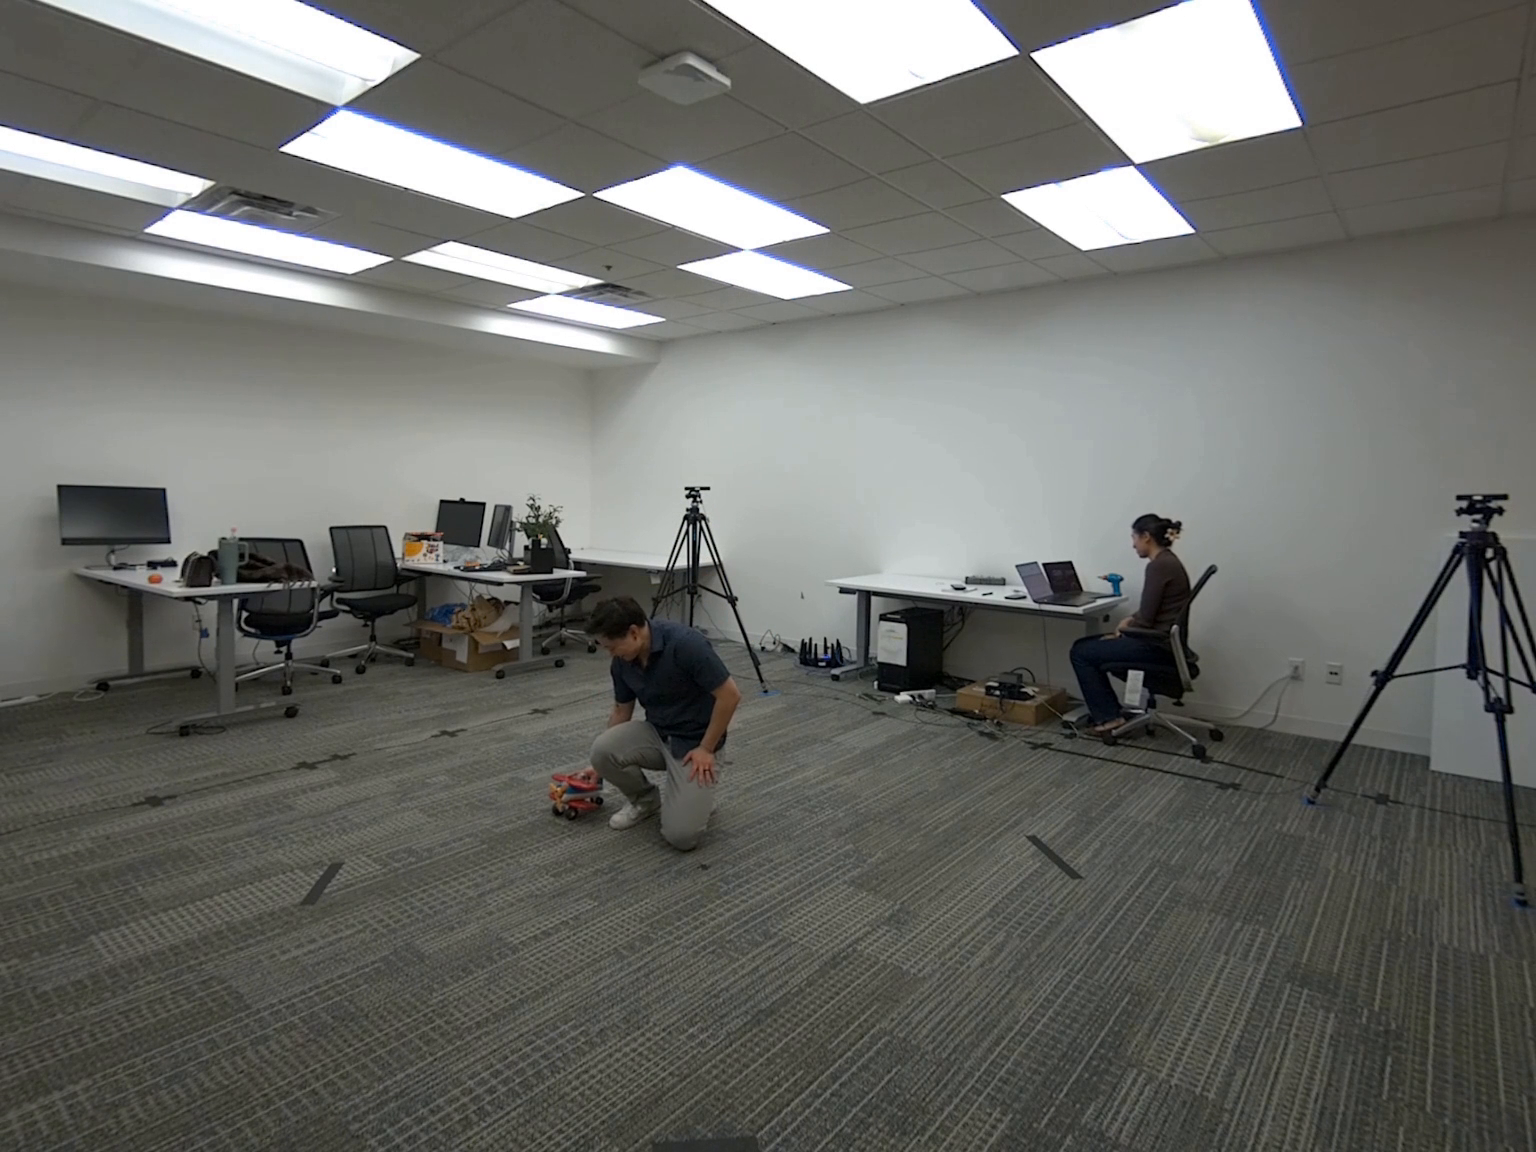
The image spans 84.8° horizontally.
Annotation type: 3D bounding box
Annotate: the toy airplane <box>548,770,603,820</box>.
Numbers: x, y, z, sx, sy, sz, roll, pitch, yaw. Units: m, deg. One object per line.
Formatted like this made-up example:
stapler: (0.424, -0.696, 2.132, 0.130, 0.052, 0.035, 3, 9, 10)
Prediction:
toy airplane: (-0.836, 0.931, 3.650, 0.254, 0.155, 0.258, -1, 7, 10)
